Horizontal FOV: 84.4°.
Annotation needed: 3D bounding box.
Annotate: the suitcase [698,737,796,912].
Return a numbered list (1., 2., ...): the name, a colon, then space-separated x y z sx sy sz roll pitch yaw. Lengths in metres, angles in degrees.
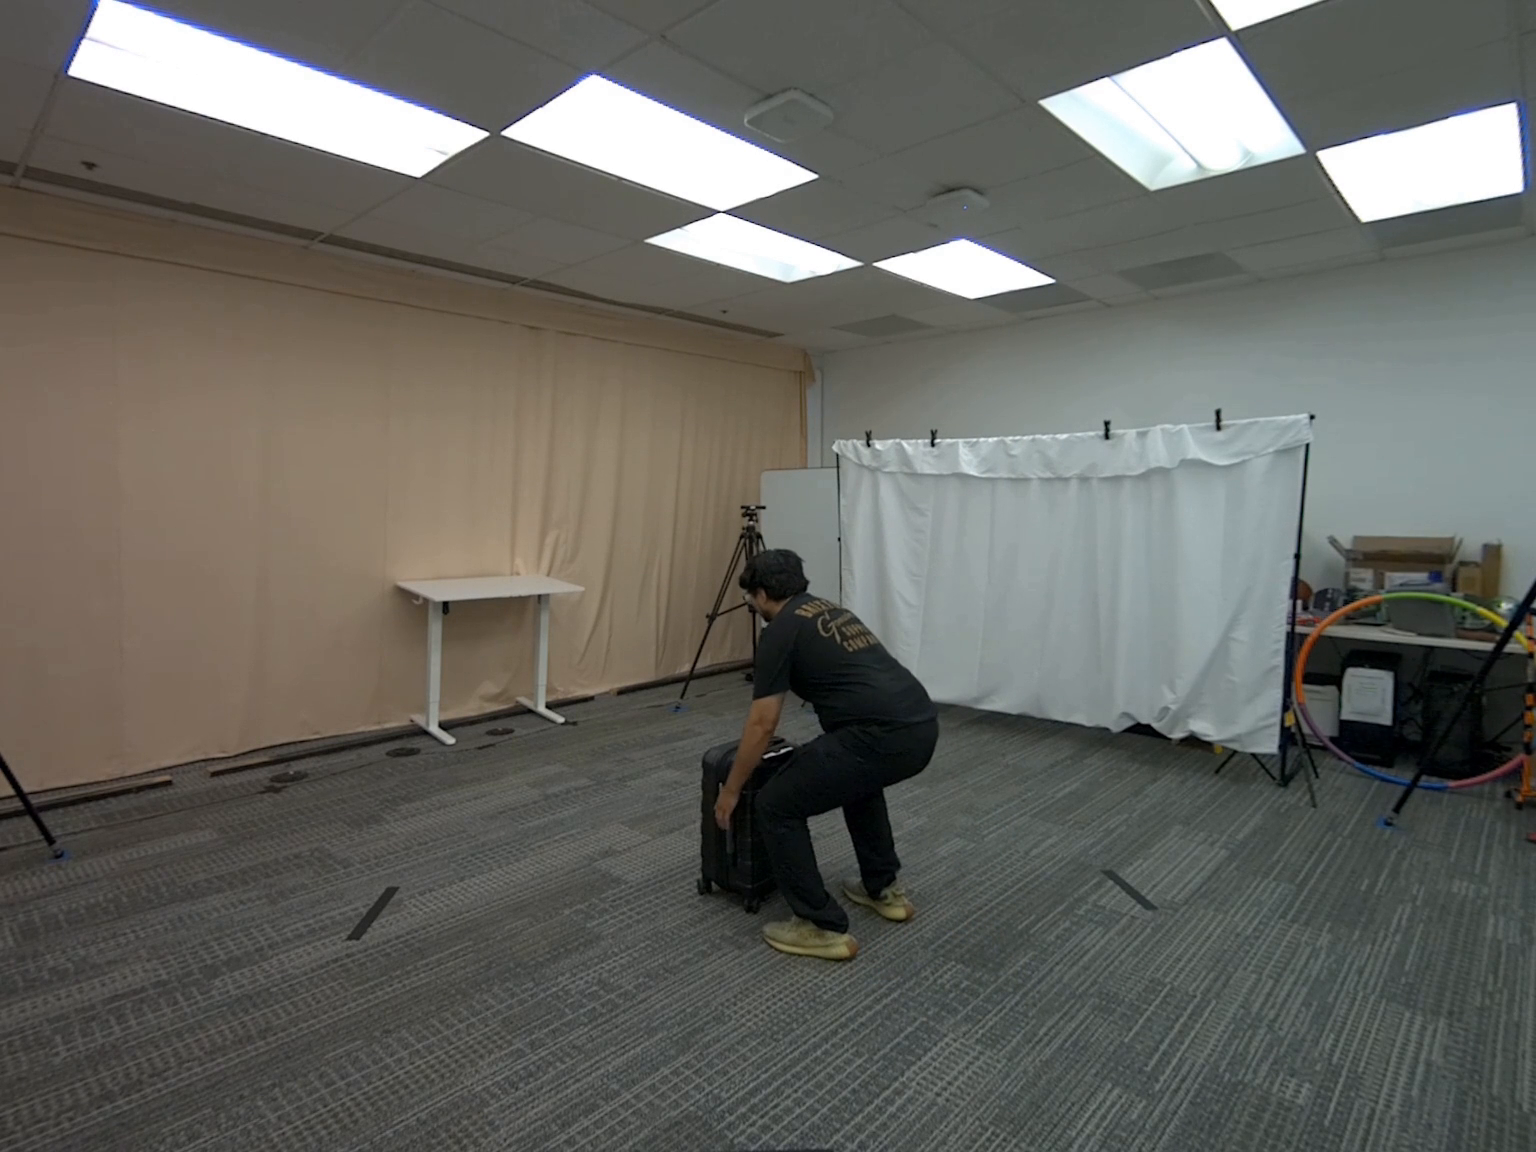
1. suitcase: -0.050 0.866 3.033 0.256 0.548 0.364 4 6 42
